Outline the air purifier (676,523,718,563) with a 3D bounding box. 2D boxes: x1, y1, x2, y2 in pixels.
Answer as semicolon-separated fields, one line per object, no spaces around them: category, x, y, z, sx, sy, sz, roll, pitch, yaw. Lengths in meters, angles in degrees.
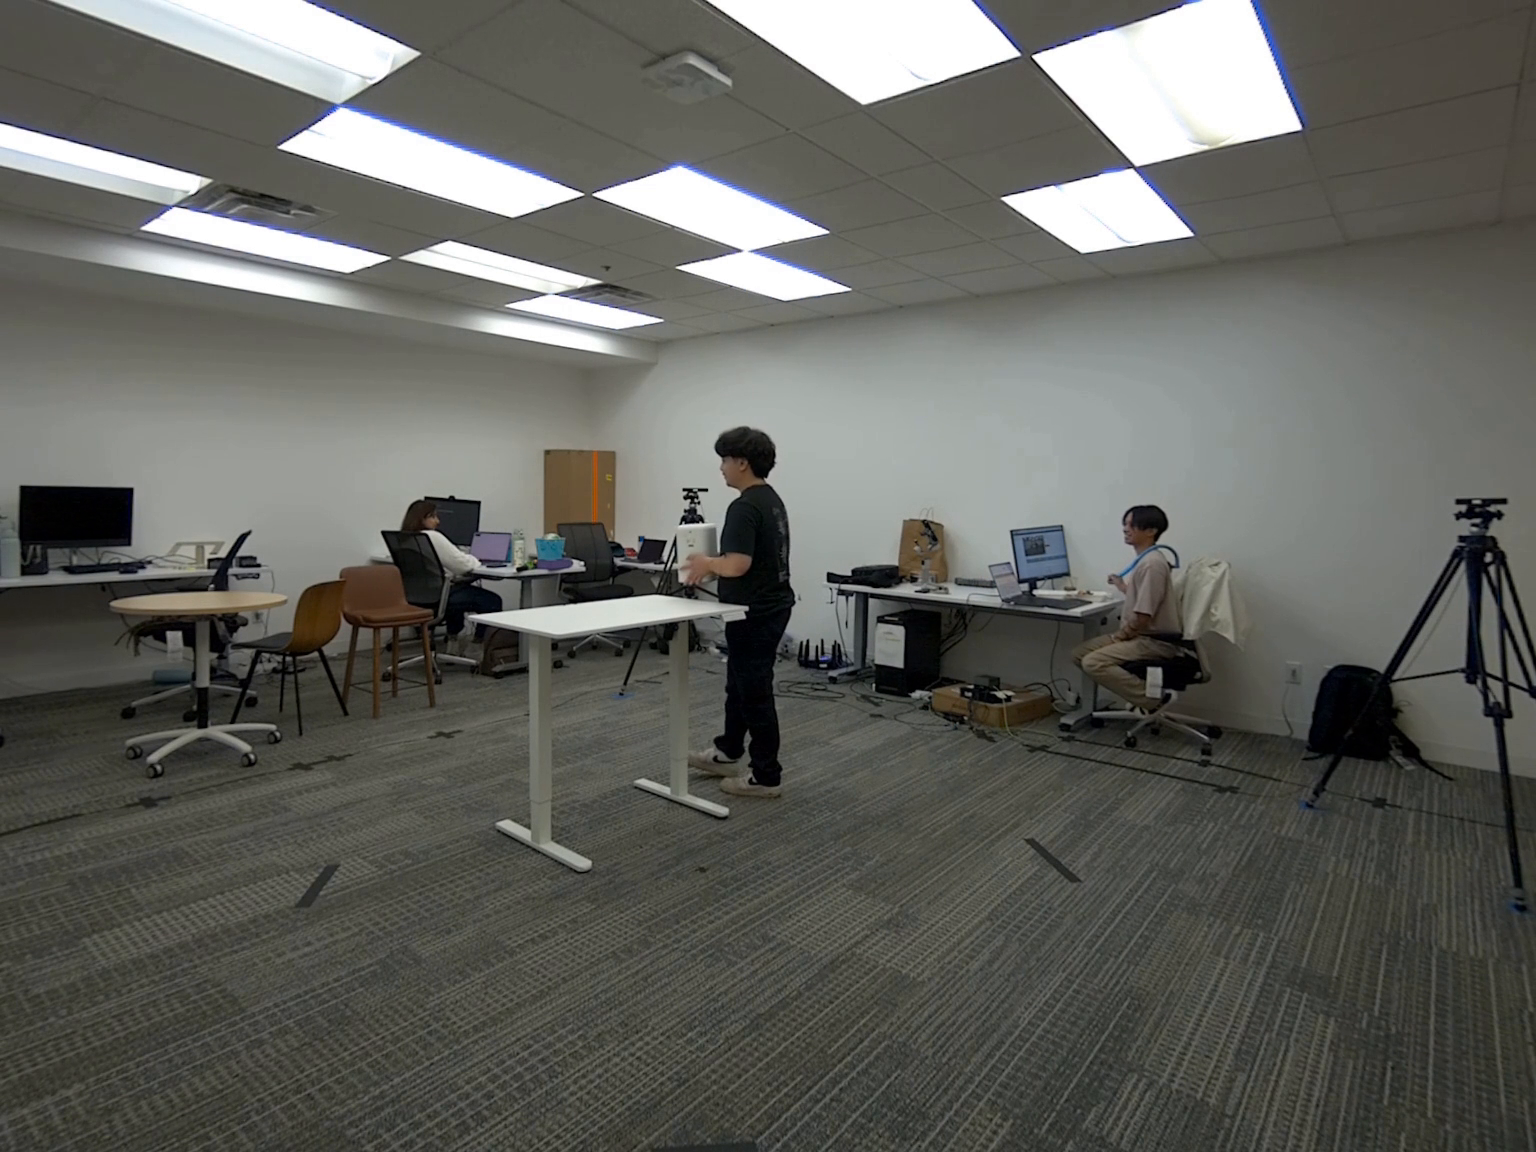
air purifier;-0.341;-0.117;3.966;0.174;0.264;0.169;-3;4;17
